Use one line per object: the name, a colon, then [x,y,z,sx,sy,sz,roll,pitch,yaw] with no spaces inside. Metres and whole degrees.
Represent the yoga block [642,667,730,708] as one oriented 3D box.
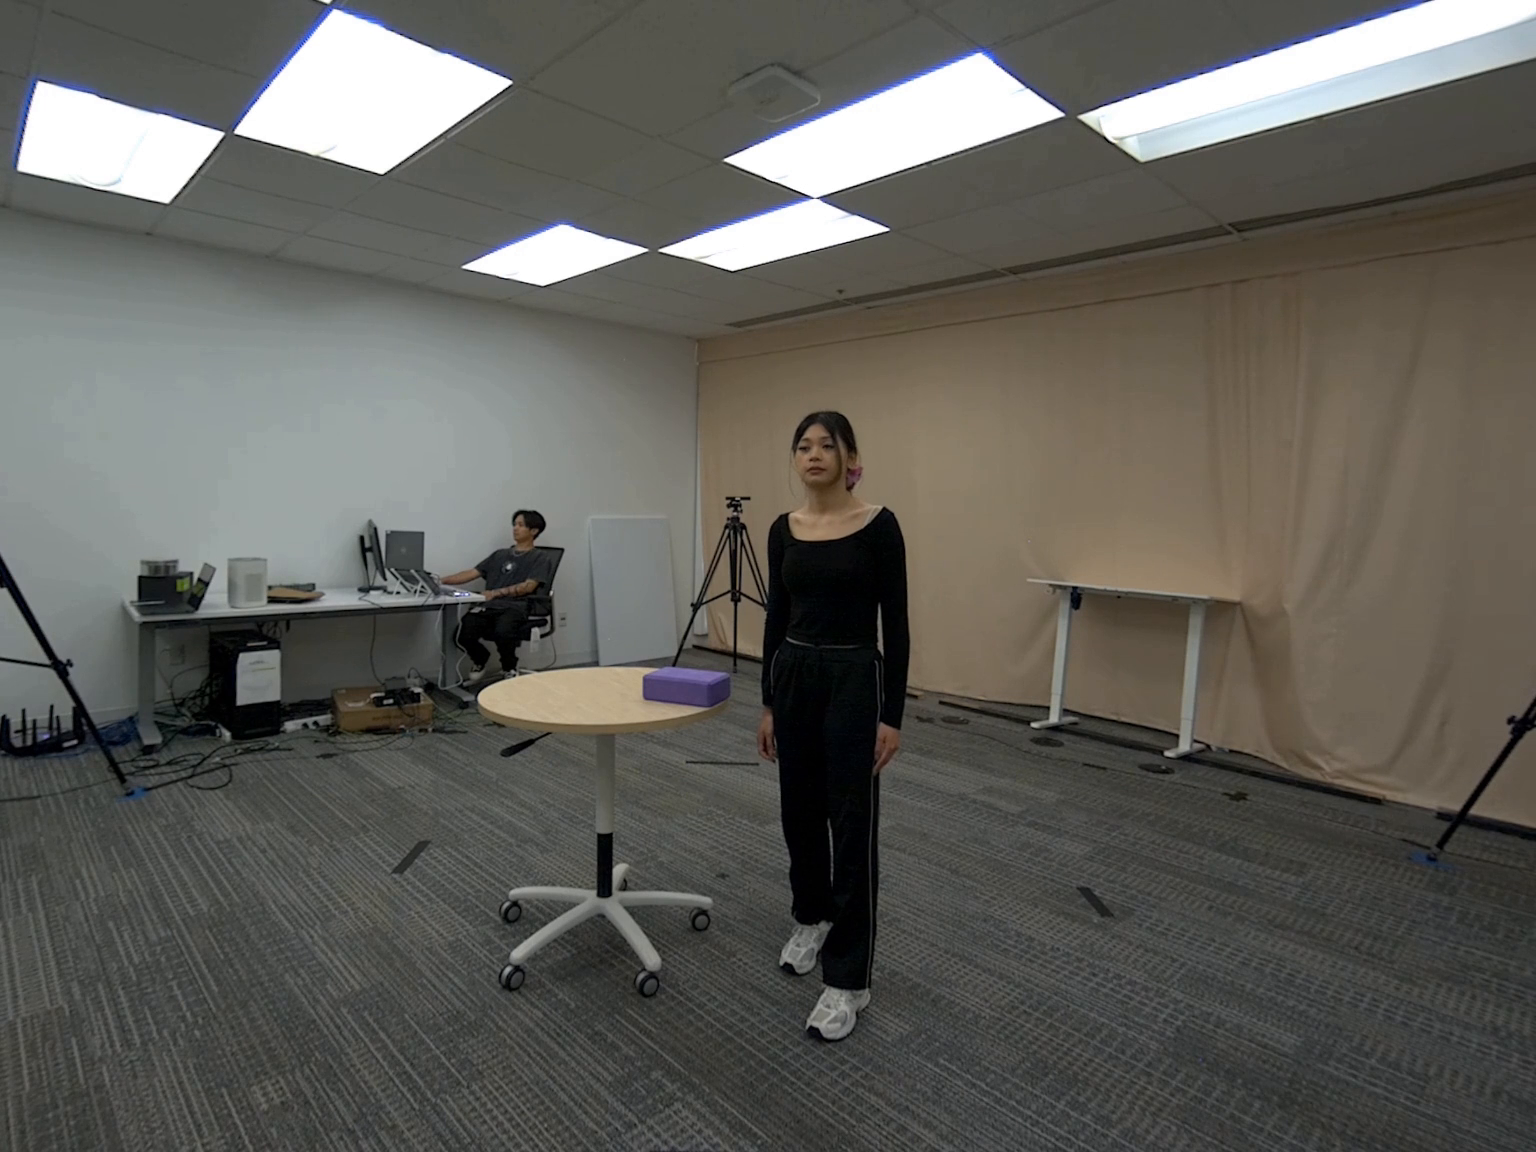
yoga block: [-0.252,0.336,2.510,0.234,0.076,0.146,3,6,27]
